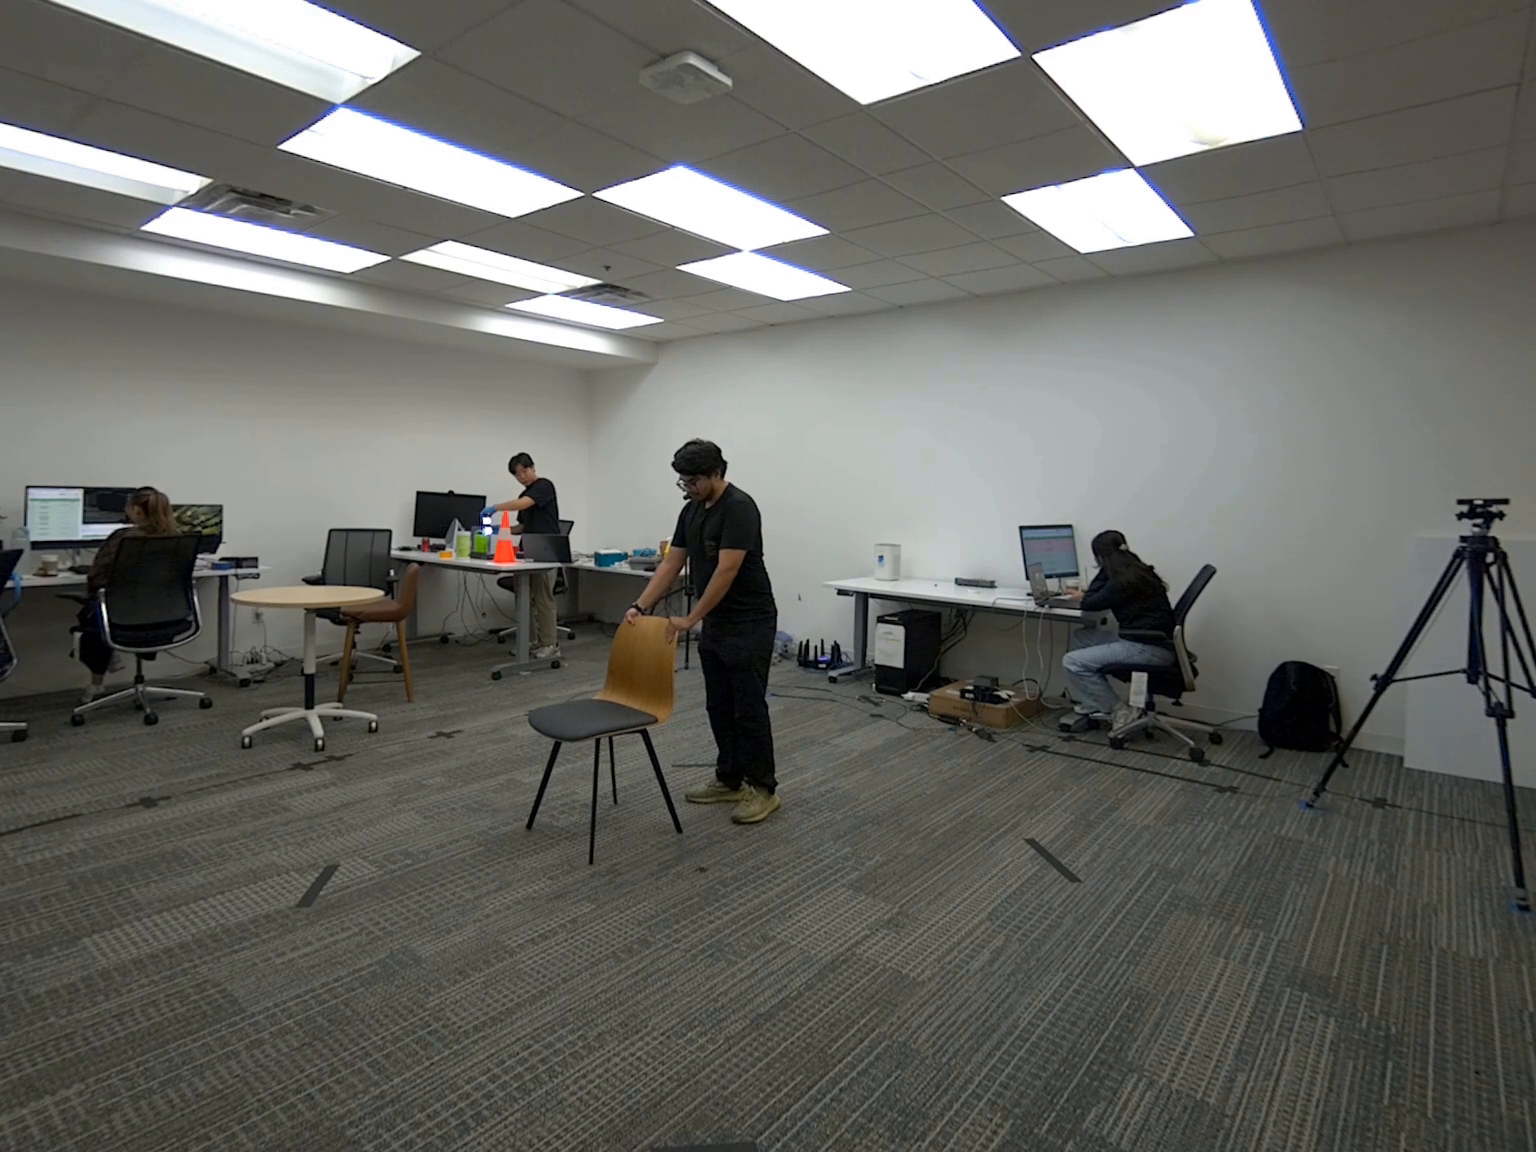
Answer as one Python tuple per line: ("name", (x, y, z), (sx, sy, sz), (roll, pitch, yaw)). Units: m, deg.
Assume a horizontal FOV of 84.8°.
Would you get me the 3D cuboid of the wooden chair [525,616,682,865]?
("wooden chair", (-0.669, 0.604, 3.411), (0.494, 0.877, 0.505), (5, 0, 44))
